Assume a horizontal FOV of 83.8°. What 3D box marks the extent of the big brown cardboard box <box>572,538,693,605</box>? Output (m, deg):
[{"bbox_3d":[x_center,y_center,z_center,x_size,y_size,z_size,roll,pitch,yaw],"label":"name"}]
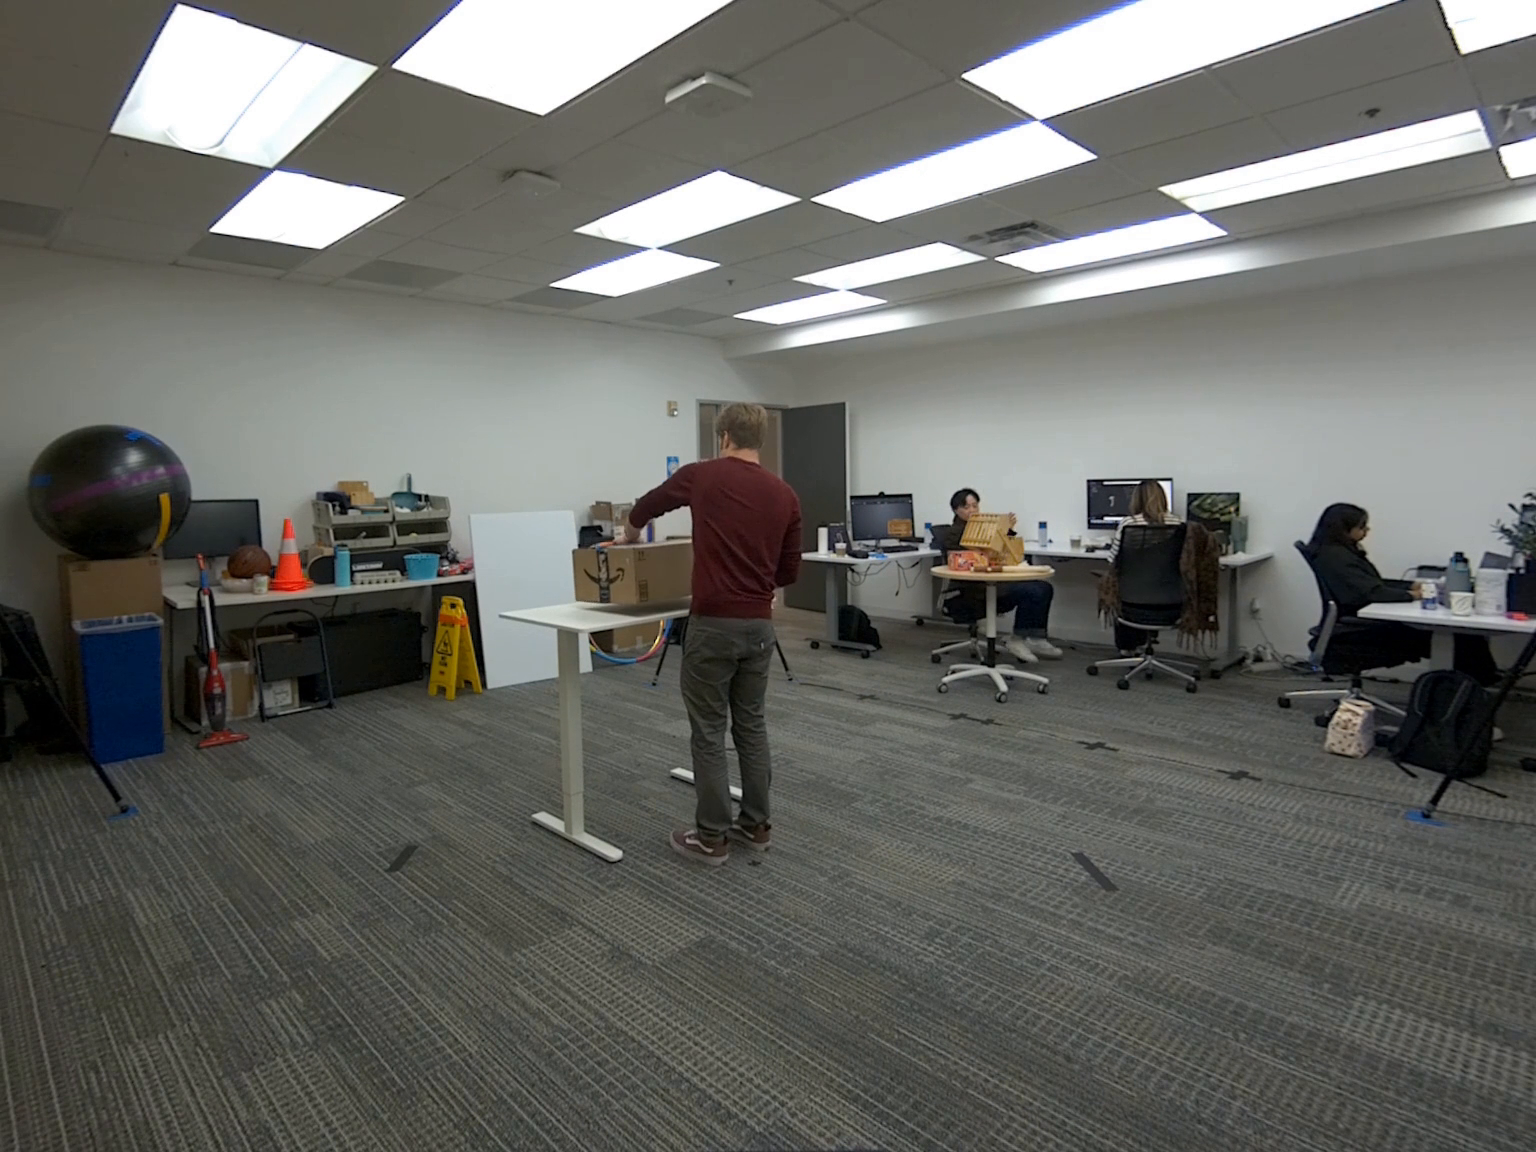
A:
[{"bbox_3d":[-0.453,-0.033,3.528,0.429,0.233,0.574,0,5,44],"label":"big brown cardboard box"}]
